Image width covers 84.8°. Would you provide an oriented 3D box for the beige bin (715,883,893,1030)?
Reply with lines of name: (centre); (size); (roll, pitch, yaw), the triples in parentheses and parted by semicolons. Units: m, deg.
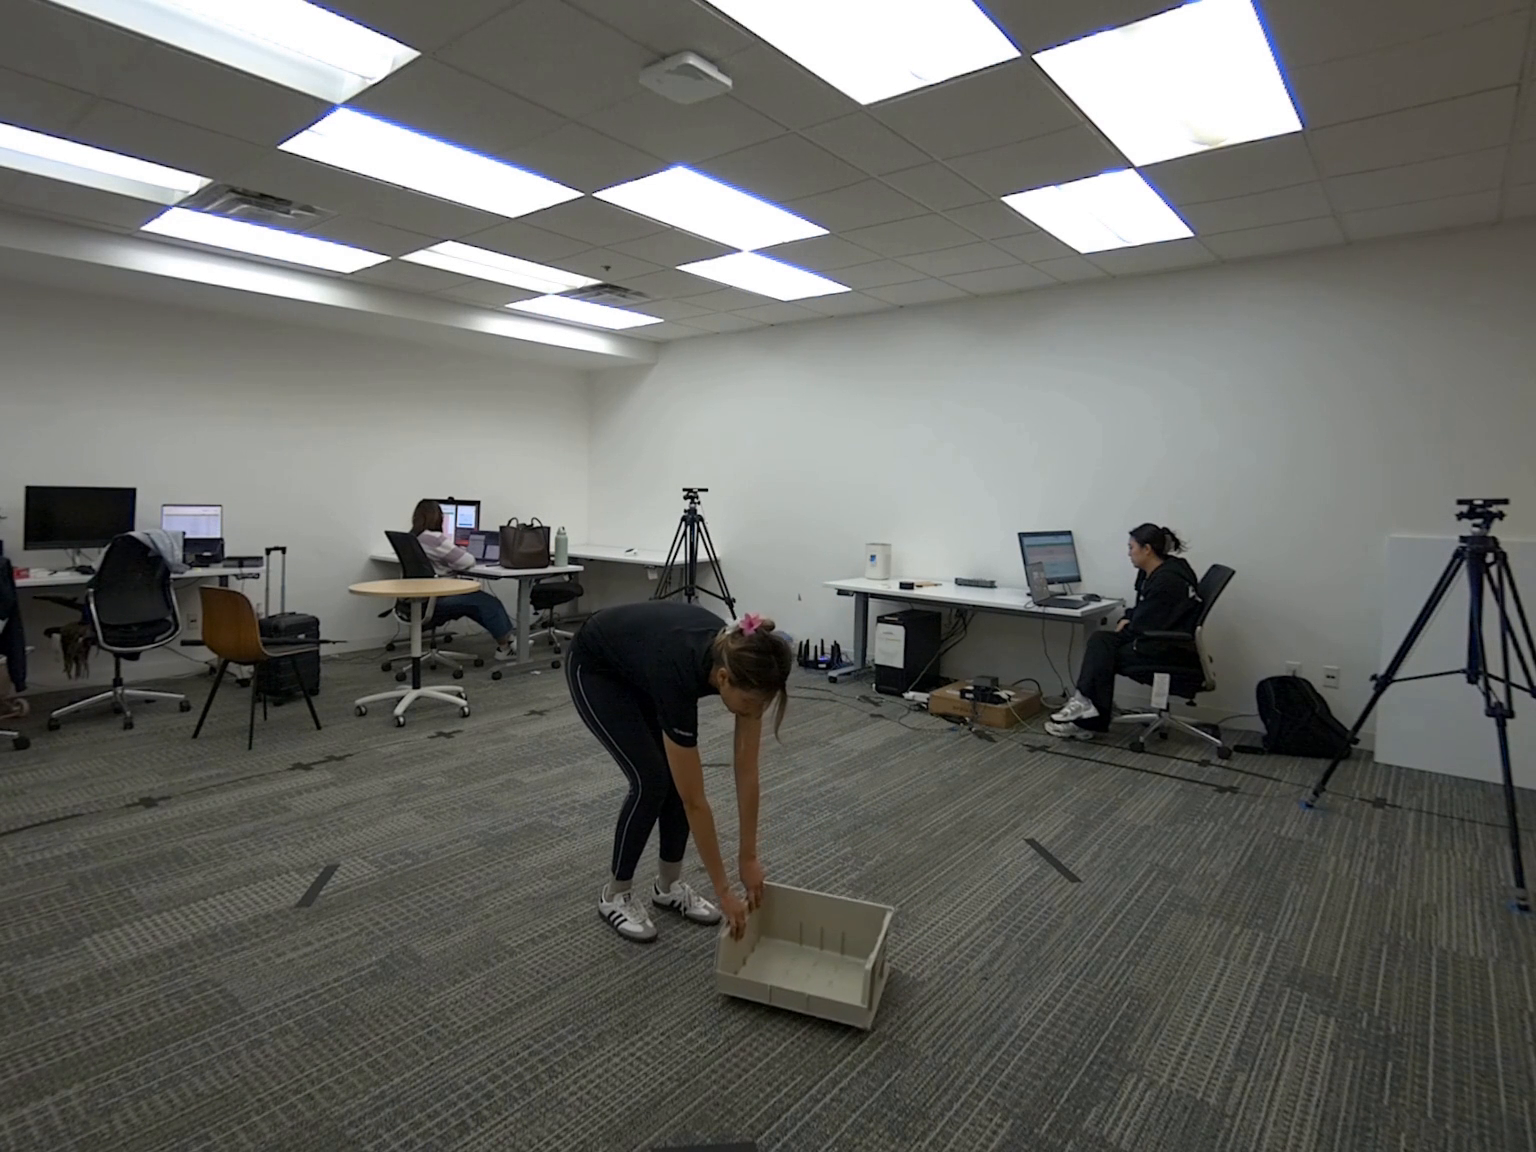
beige bin: (0.100, 1.055, 2.388); (0.431, 0.188, 0.370); (3, 4, 19)
